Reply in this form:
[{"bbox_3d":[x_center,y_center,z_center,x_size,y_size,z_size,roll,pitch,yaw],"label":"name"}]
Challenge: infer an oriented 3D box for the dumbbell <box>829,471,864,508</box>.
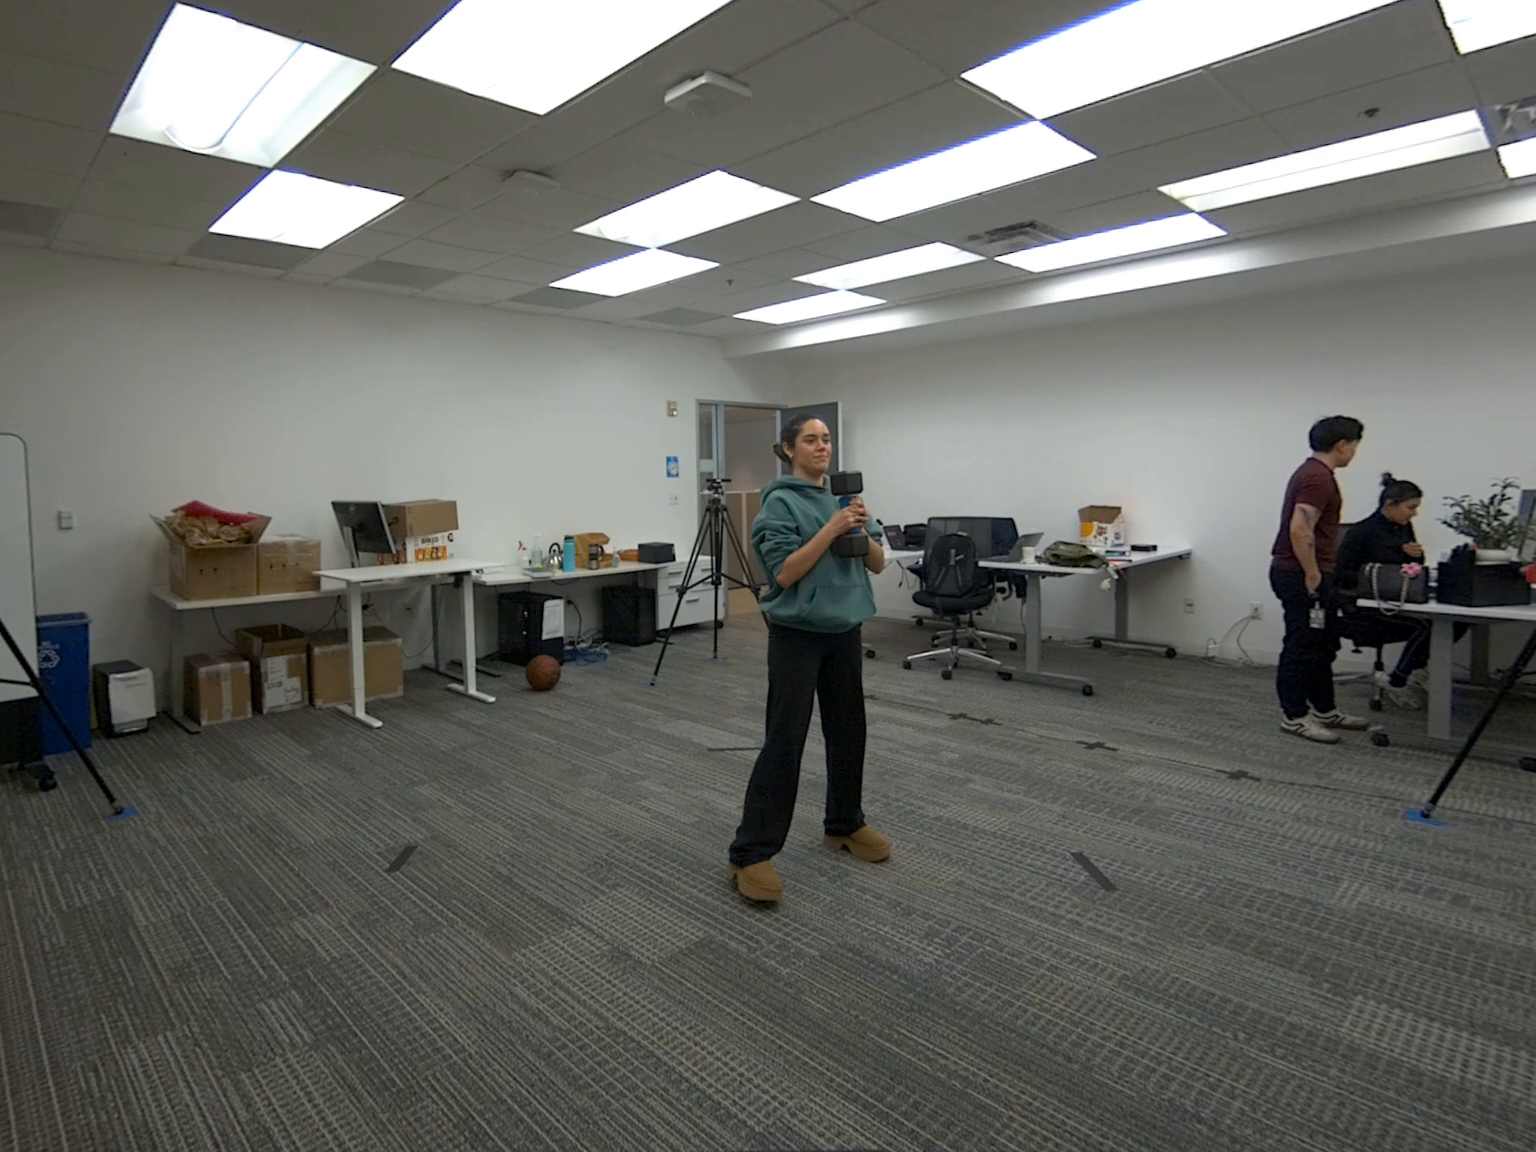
[{"bbox_3d":[0.262,-0.207,2.898,0.109,0.294,0.122,-5,-1,5],"label":"dumbbell"}]
